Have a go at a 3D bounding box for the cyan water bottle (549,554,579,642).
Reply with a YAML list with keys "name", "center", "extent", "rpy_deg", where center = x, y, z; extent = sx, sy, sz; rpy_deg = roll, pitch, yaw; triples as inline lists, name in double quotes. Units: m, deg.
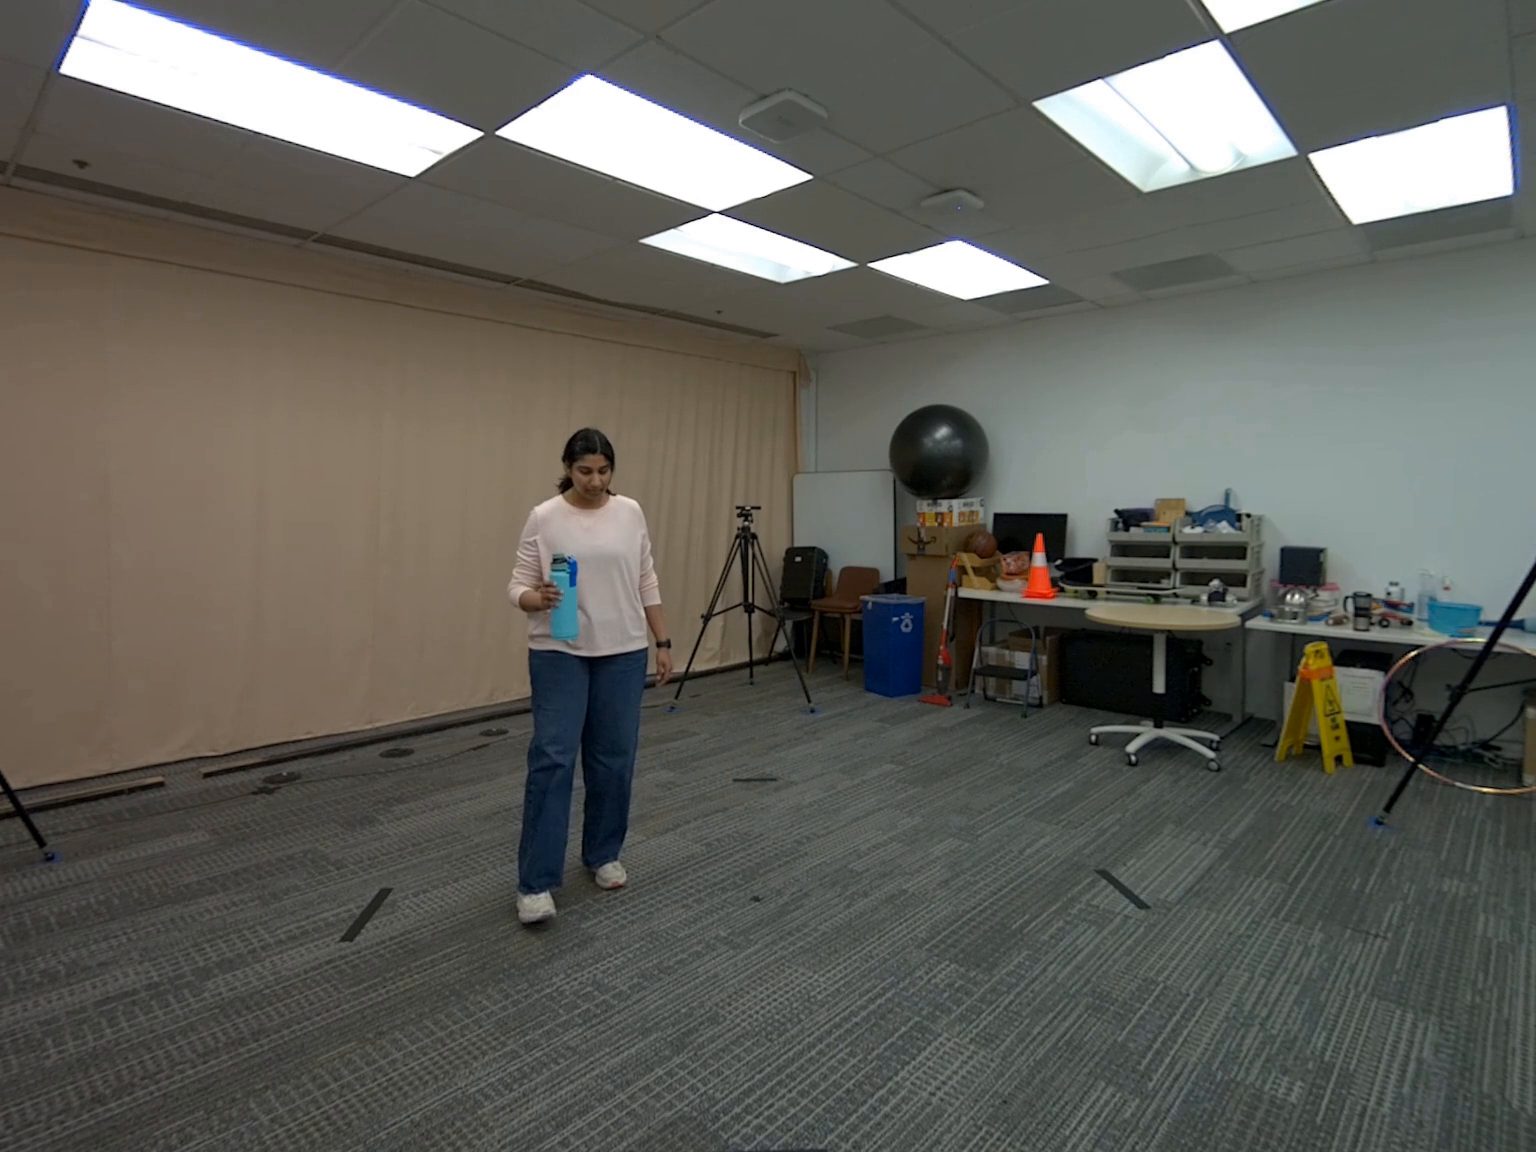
- name: "cyan water bottle"
  center: [-0.678, 0.063, 2.789]
  extent: [0.092, 0.282, 0.093]
  rpy_deg: [2, 8, -2]
